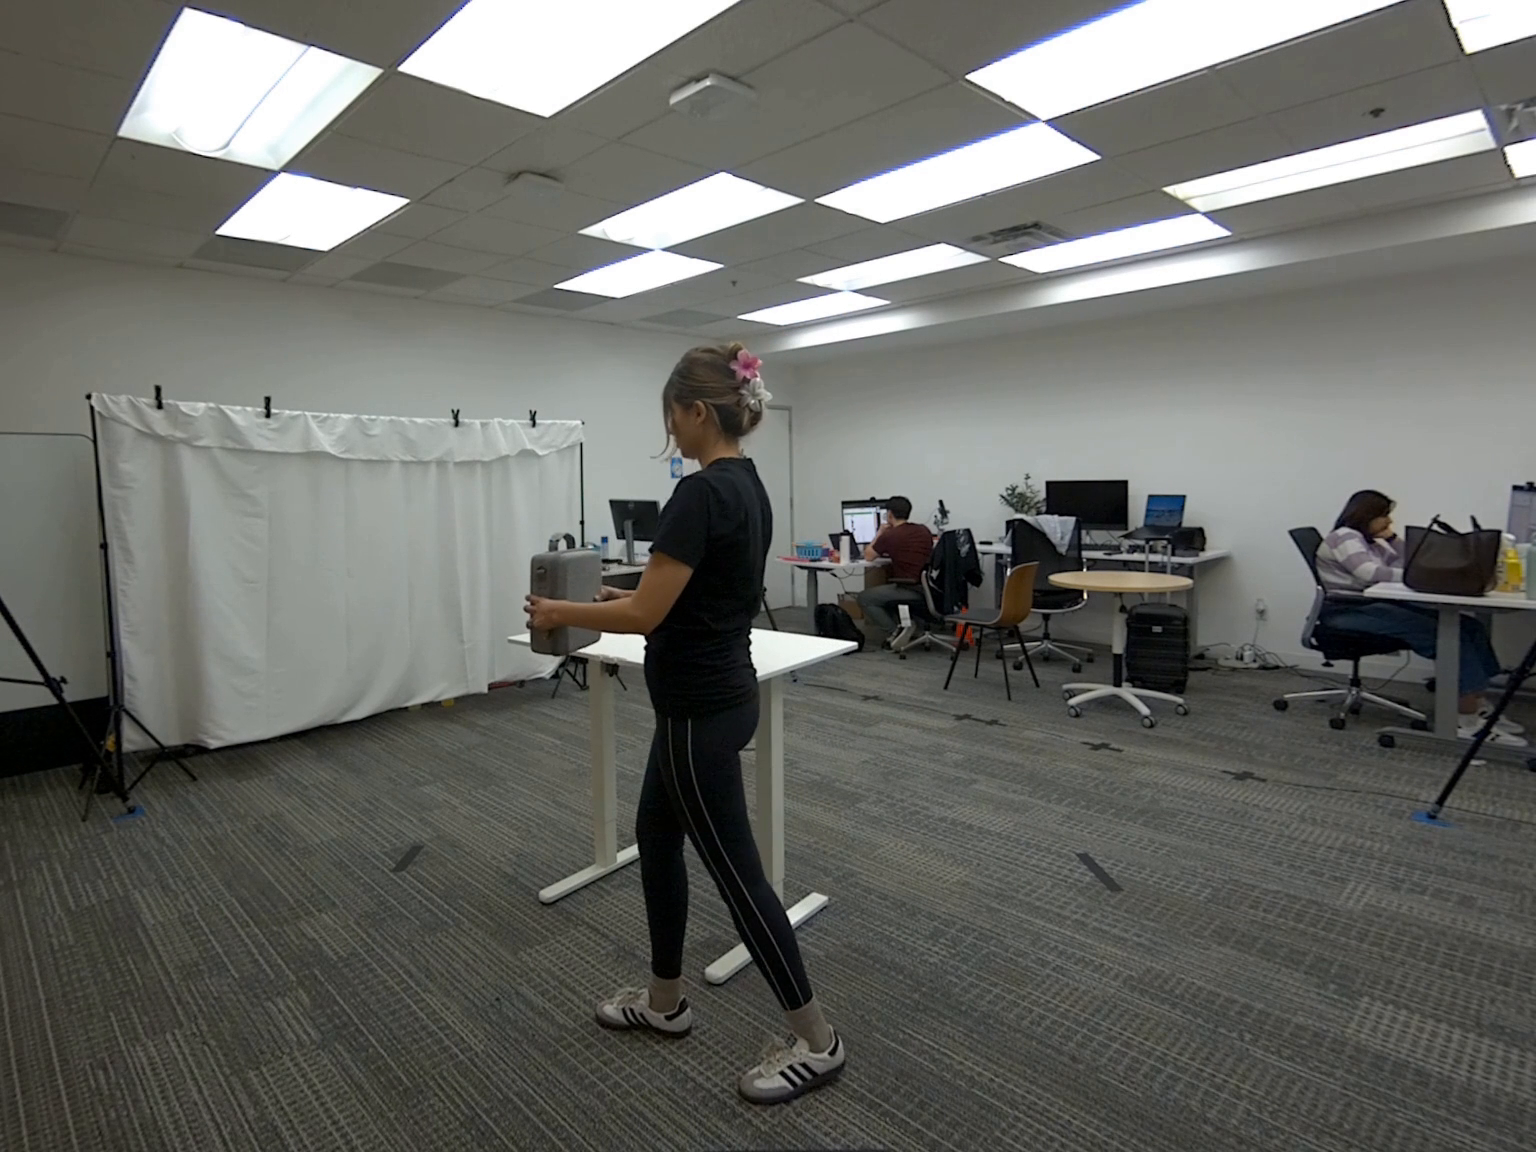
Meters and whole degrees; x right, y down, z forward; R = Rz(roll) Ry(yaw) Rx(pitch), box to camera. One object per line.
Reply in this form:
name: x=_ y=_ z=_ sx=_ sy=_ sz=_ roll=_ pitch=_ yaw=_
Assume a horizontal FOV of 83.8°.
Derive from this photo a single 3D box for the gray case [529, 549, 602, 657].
gray case: x=-0.494 y=0.055 z=2.149 sx=0.105 sy=0.260 sz=0.254 roll=-2 pitch=1 yaw=9
